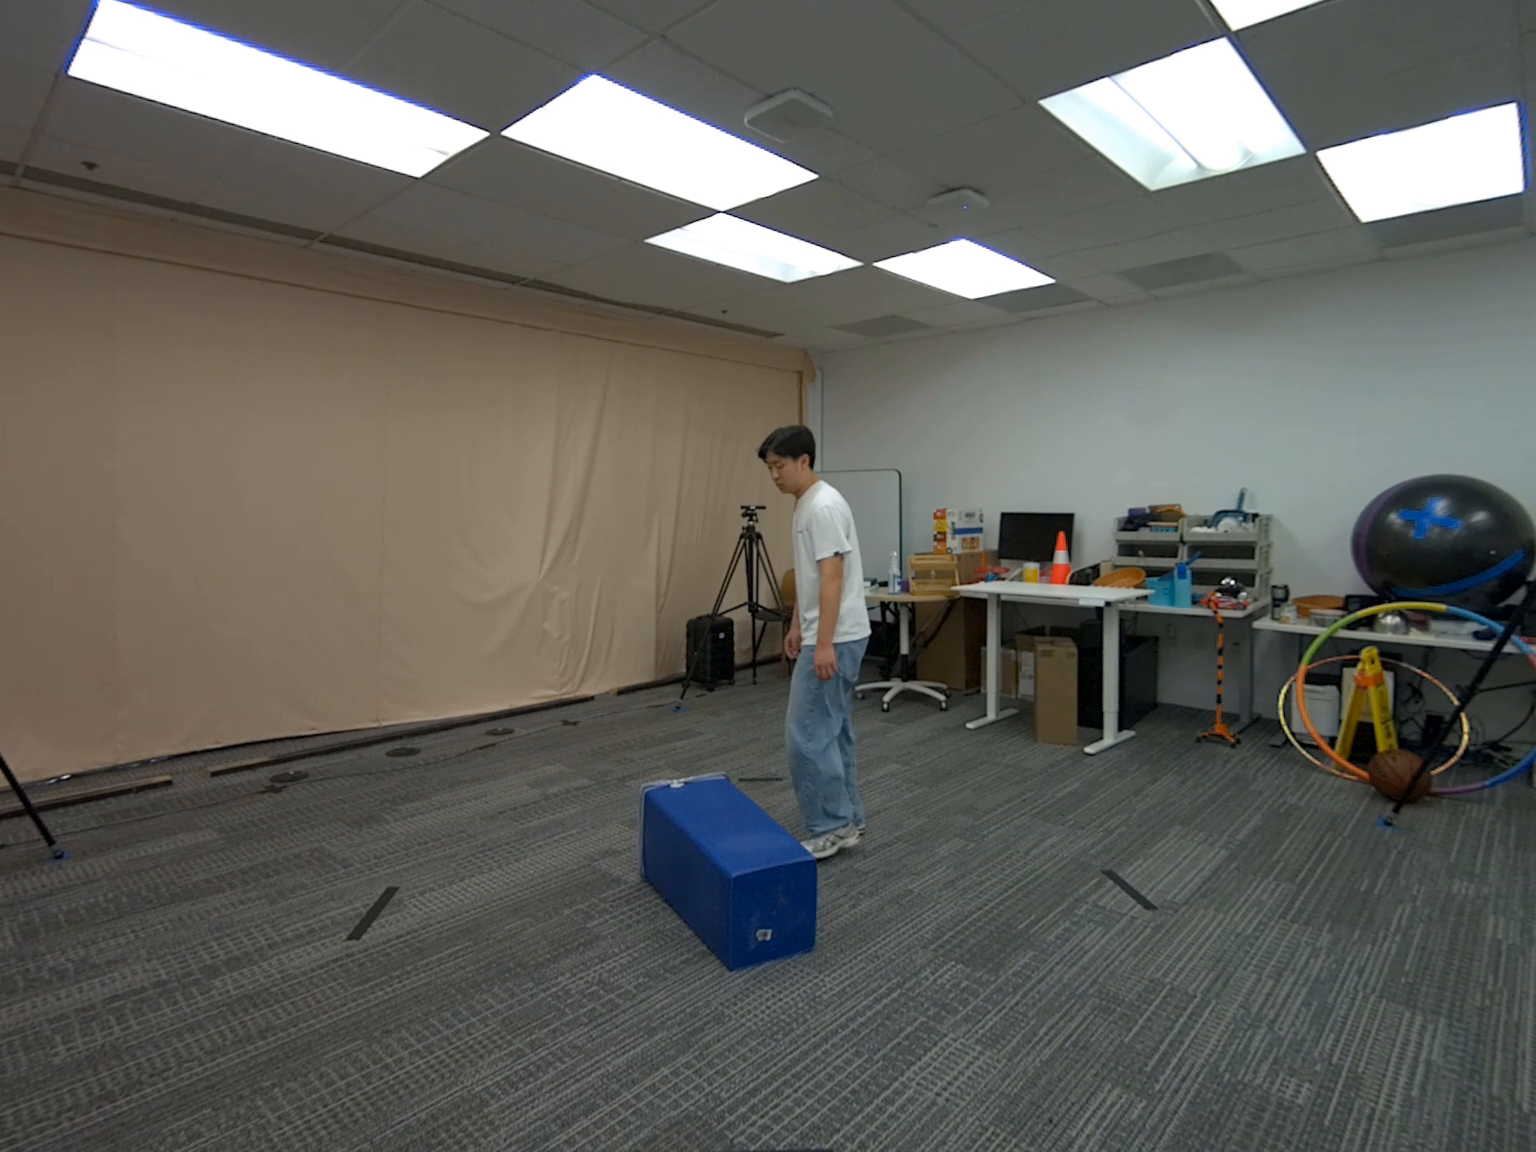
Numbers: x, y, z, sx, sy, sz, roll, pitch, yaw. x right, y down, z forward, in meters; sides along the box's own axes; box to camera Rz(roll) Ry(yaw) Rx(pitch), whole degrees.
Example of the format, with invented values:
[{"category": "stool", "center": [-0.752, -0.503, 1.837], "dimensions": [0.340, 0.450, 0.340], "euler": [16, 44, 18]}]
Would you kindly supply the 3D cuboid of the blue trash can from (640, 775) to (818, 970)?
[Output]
[{"category": "blue trash can", "center": [-0.143, 0.988, 2.880], "dimensions": [0.364, 0.377, 0.734], "euler": [-2, 7, -28]}]
